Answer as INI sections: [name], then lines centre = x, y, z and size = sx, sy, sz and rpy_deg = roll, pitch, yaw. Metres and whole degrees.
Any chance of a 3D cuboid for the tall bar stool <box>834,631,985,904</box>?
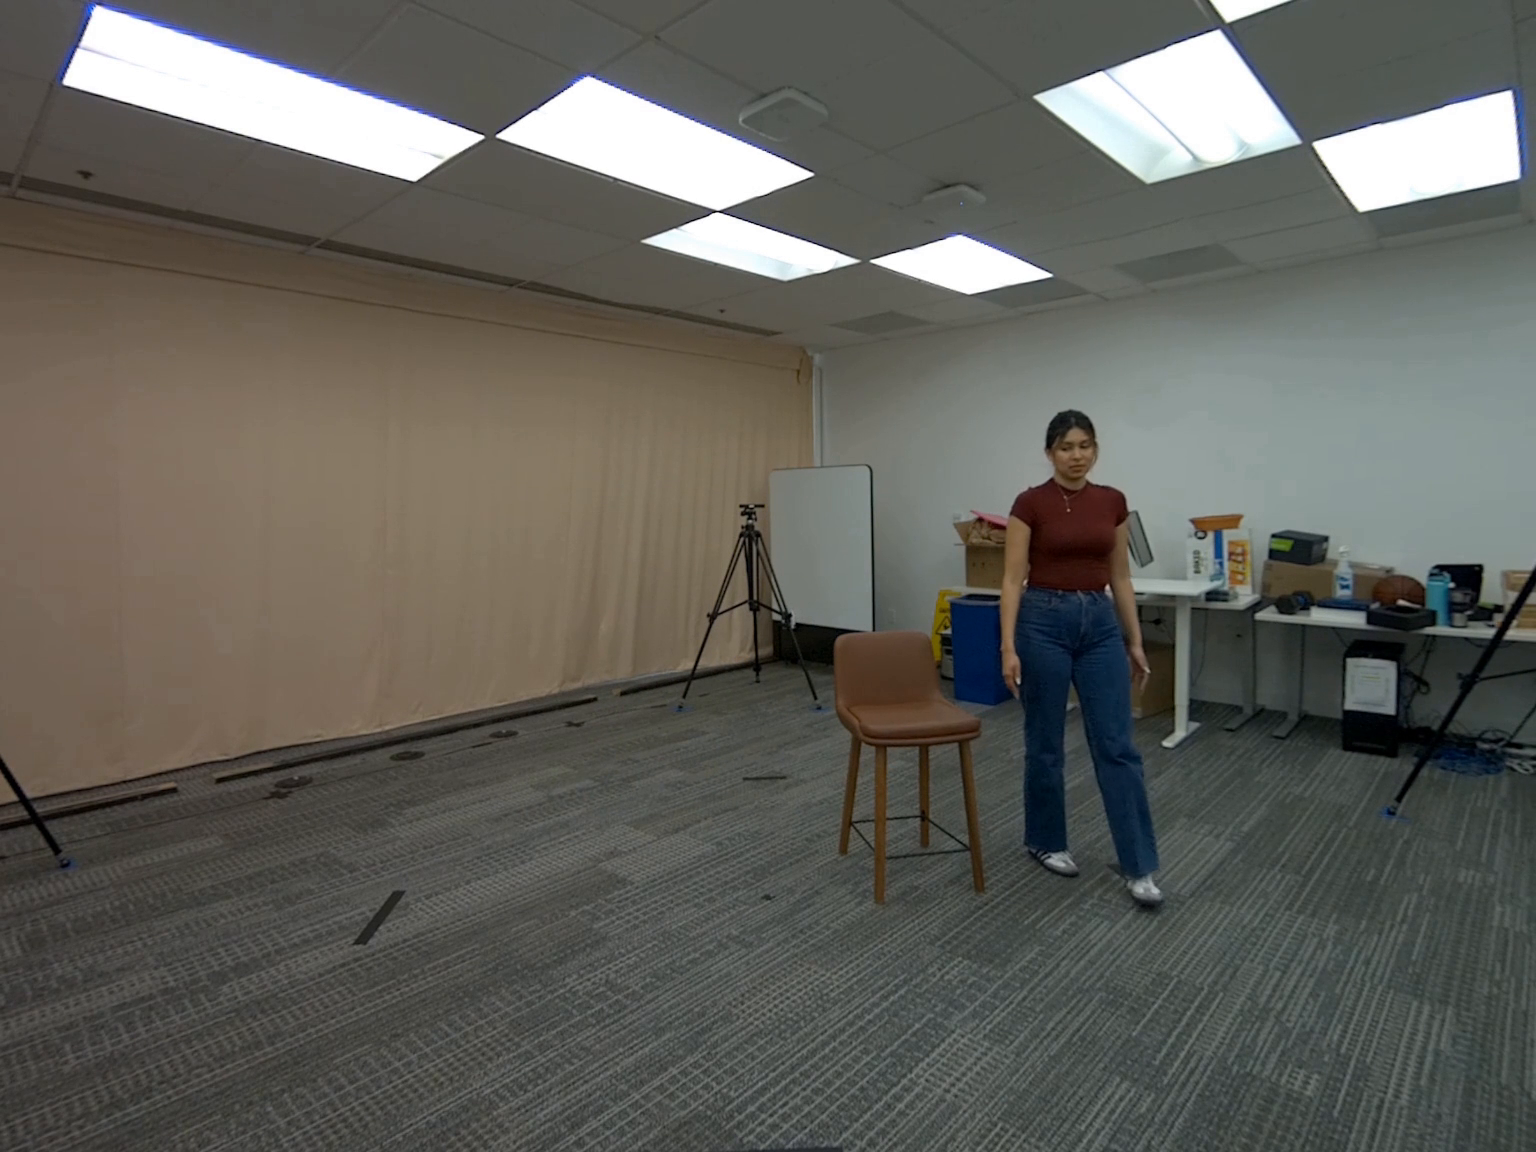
[tall bar stool]
centre = 0.520, 0.684, 3.156
size = 0.450, 0.889, 0.474
rpy_deg = 0, 2, -14
